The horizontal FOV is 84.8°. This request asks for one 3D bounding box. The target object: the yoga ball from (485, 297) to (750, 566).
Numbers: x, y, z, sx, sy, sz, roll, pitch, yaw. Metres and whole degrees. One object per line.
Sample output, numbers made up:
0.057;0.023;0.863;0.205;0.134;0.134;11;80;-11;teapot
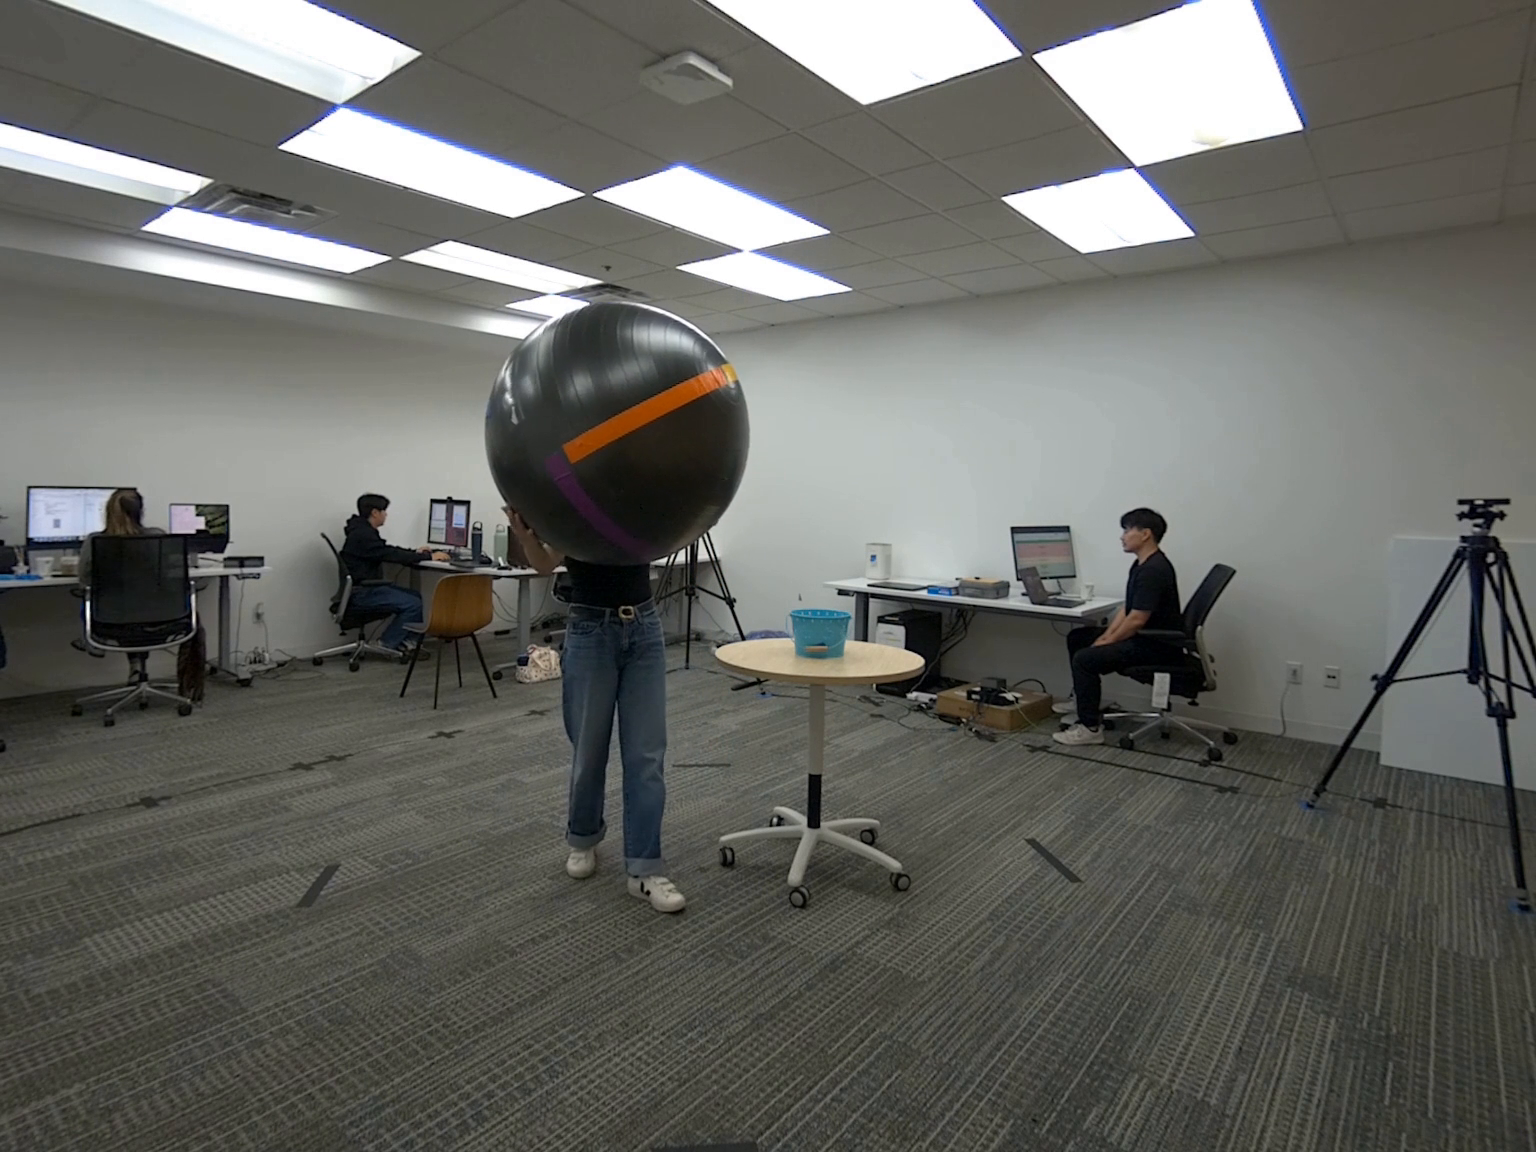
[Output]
-0.442;-0.403;2.462;0.757;0.756;0.762;1;4;-2;yoga ball
